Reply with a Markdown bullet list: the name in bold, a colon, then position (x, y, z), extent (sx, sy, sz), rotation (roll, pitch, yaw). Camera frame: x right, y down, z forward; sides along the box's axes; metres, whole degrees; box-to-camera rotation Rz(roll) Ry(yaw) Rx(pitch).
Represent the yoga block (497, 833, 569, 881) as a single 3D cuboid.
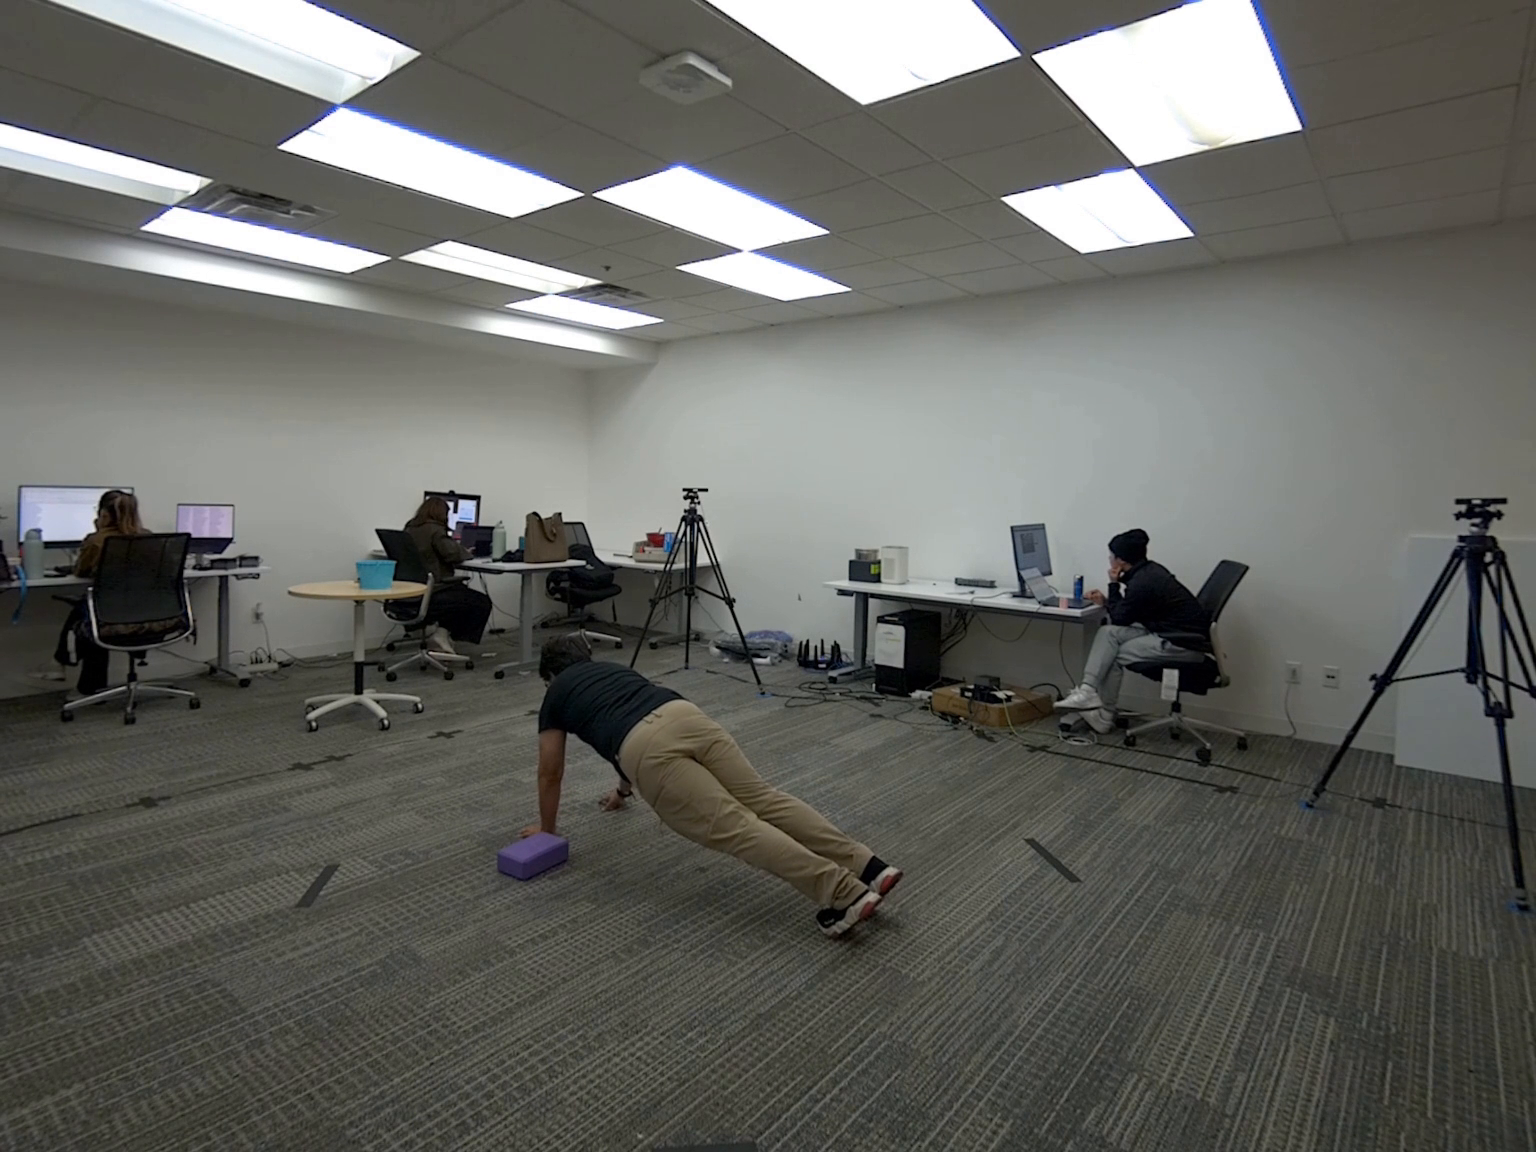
- **yoga block**: position (-0.869, 1.017, 3.109), extent (0.153, 0.076, 0.223), rotation (3, 5, 31)
